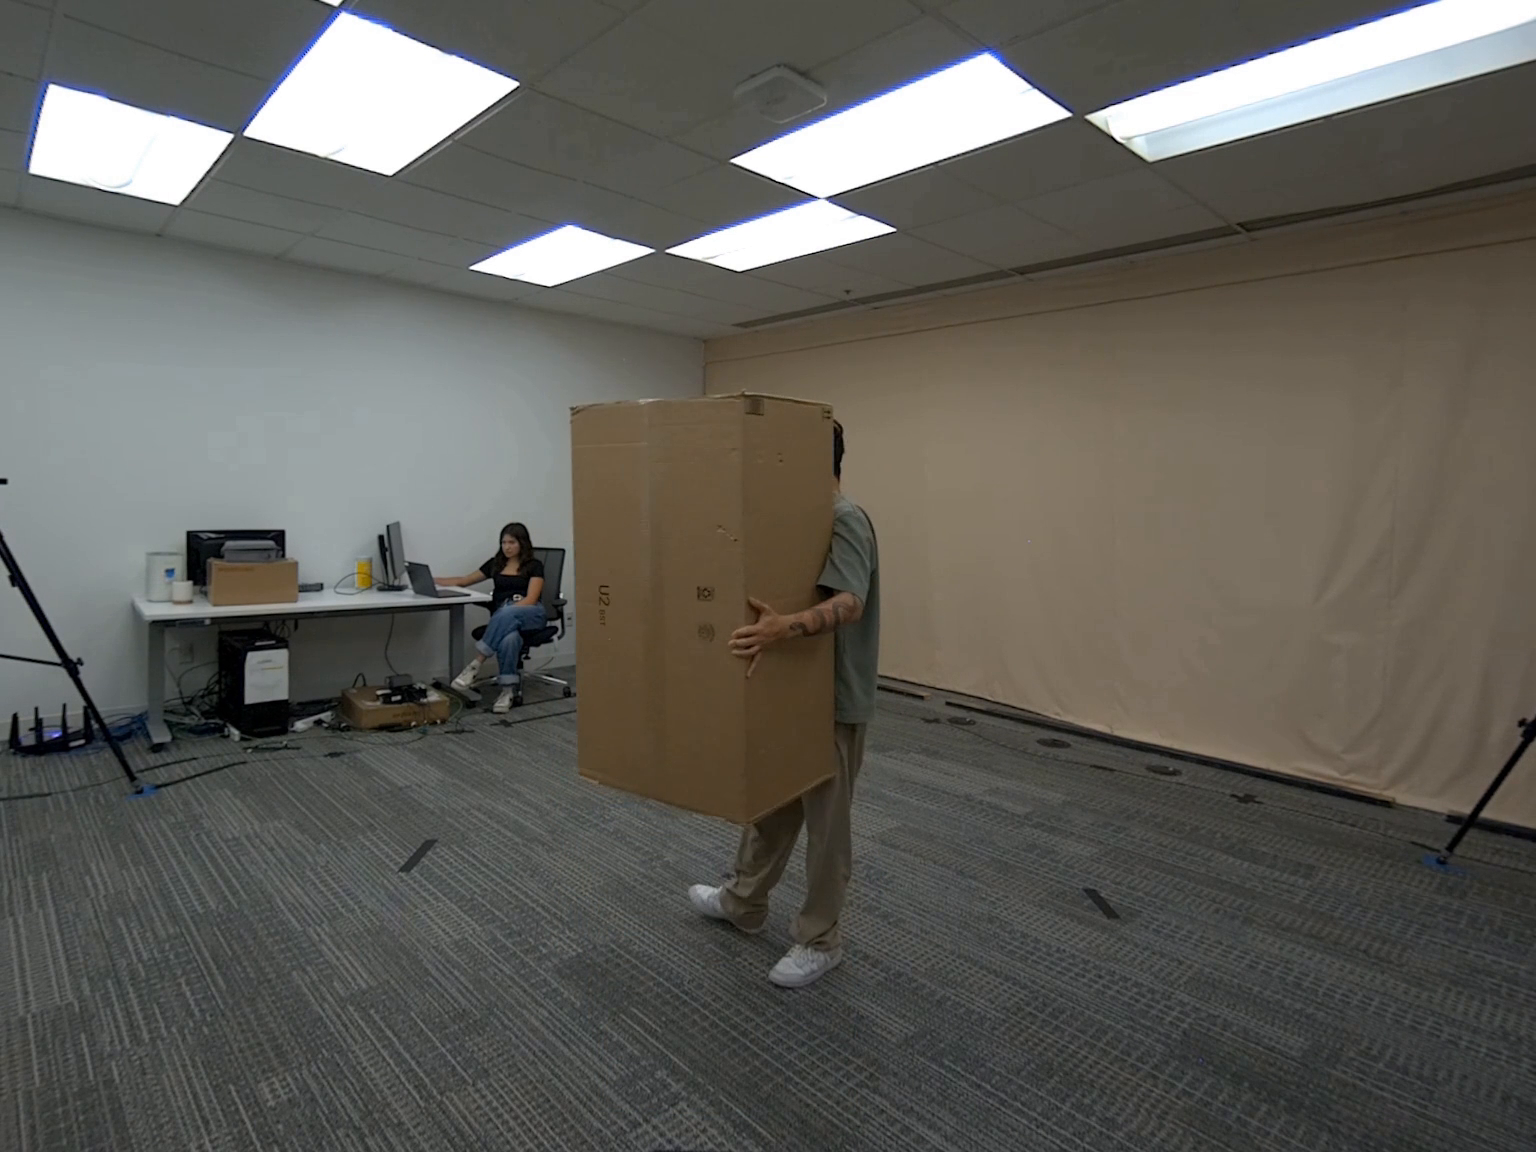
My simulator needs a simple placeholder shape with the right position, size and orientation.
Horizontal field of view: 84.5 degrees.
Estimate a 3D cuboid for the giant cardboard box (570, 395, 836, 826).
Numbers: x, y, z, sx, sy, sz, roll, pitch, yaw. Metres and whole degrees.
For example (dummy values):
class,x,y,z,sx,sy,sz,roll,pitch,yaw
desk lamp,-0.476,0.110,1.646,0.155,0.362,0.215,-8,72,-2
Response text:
class,x,y,z,sx,sy,sz,roll,pitch,yaw
giant cardboard box,-0.181,0.052,2.286,0.591,1.023,0.417,3,5,35
